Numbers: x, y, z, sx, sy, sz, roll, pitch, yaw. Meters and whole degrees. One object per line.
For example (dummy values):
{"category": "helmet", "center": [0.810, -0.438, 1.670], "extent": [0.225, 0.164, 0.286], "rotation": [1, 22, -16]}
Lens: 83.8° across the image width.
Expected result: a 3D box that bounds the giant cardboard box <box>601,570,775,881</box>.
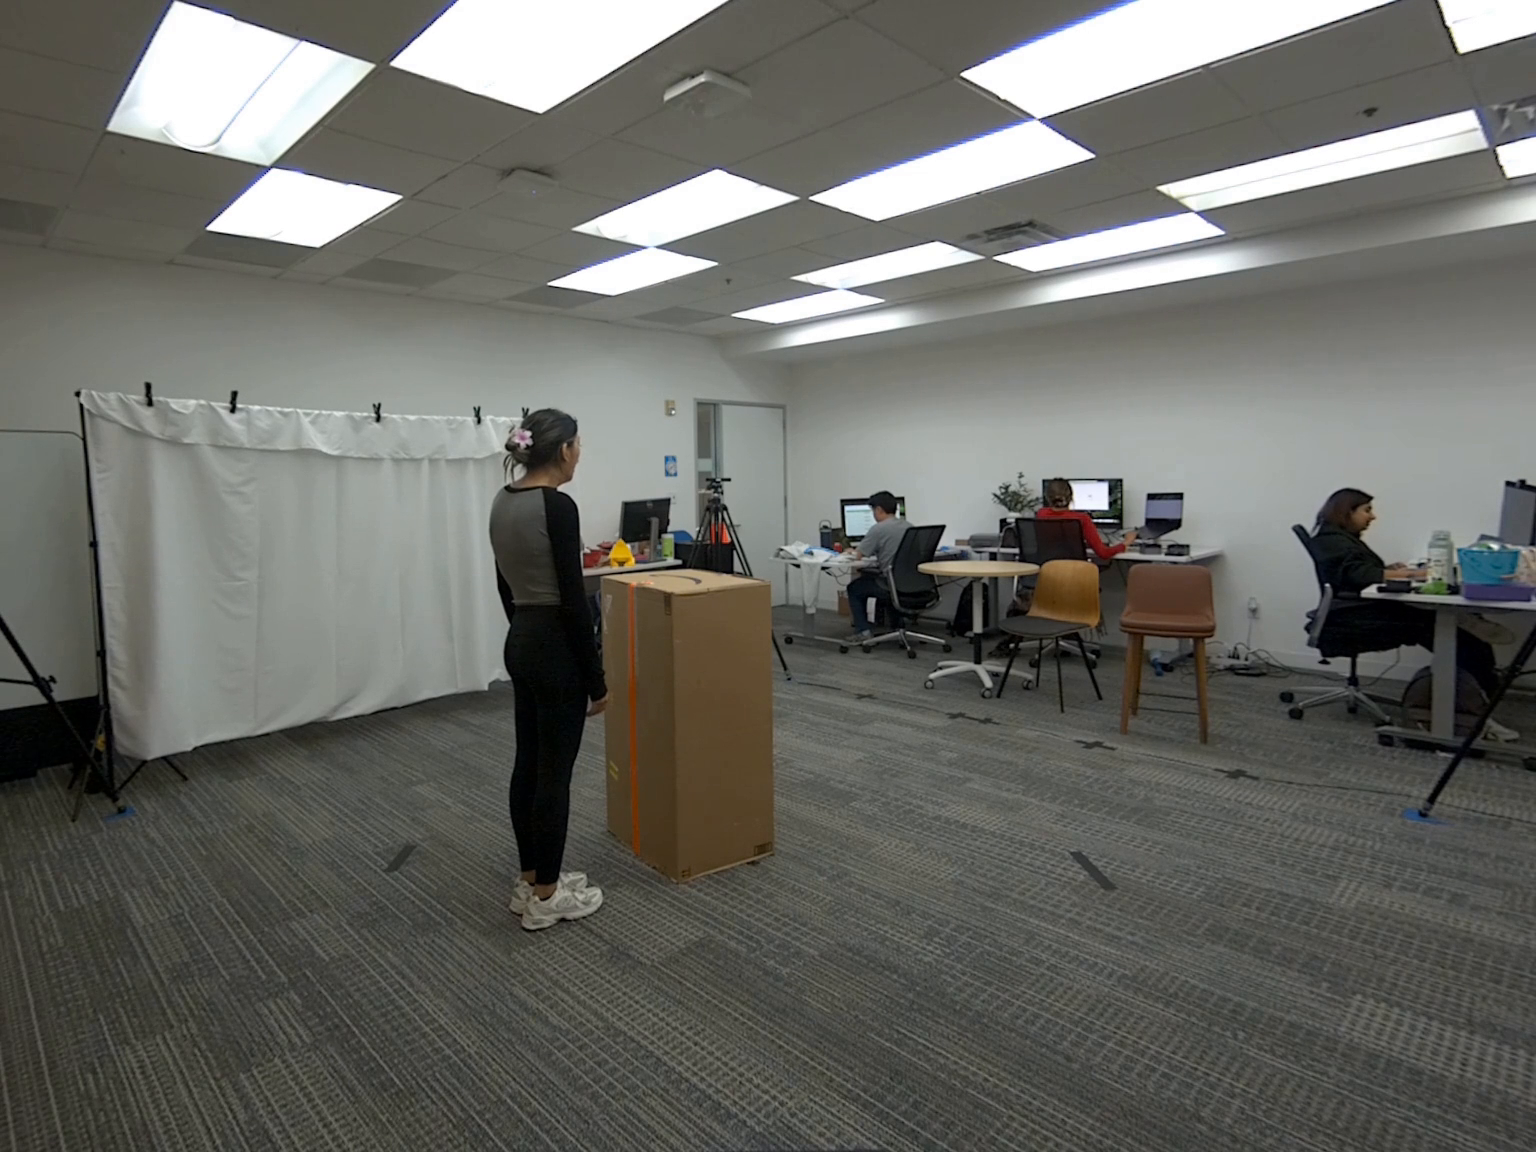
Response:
{"category": "giant cardboard box", "center": [-0.319, 0.521, 3.265], "extent": [0.435, 1.023, 0.601], "rotation": [-3, 5, -35]}
